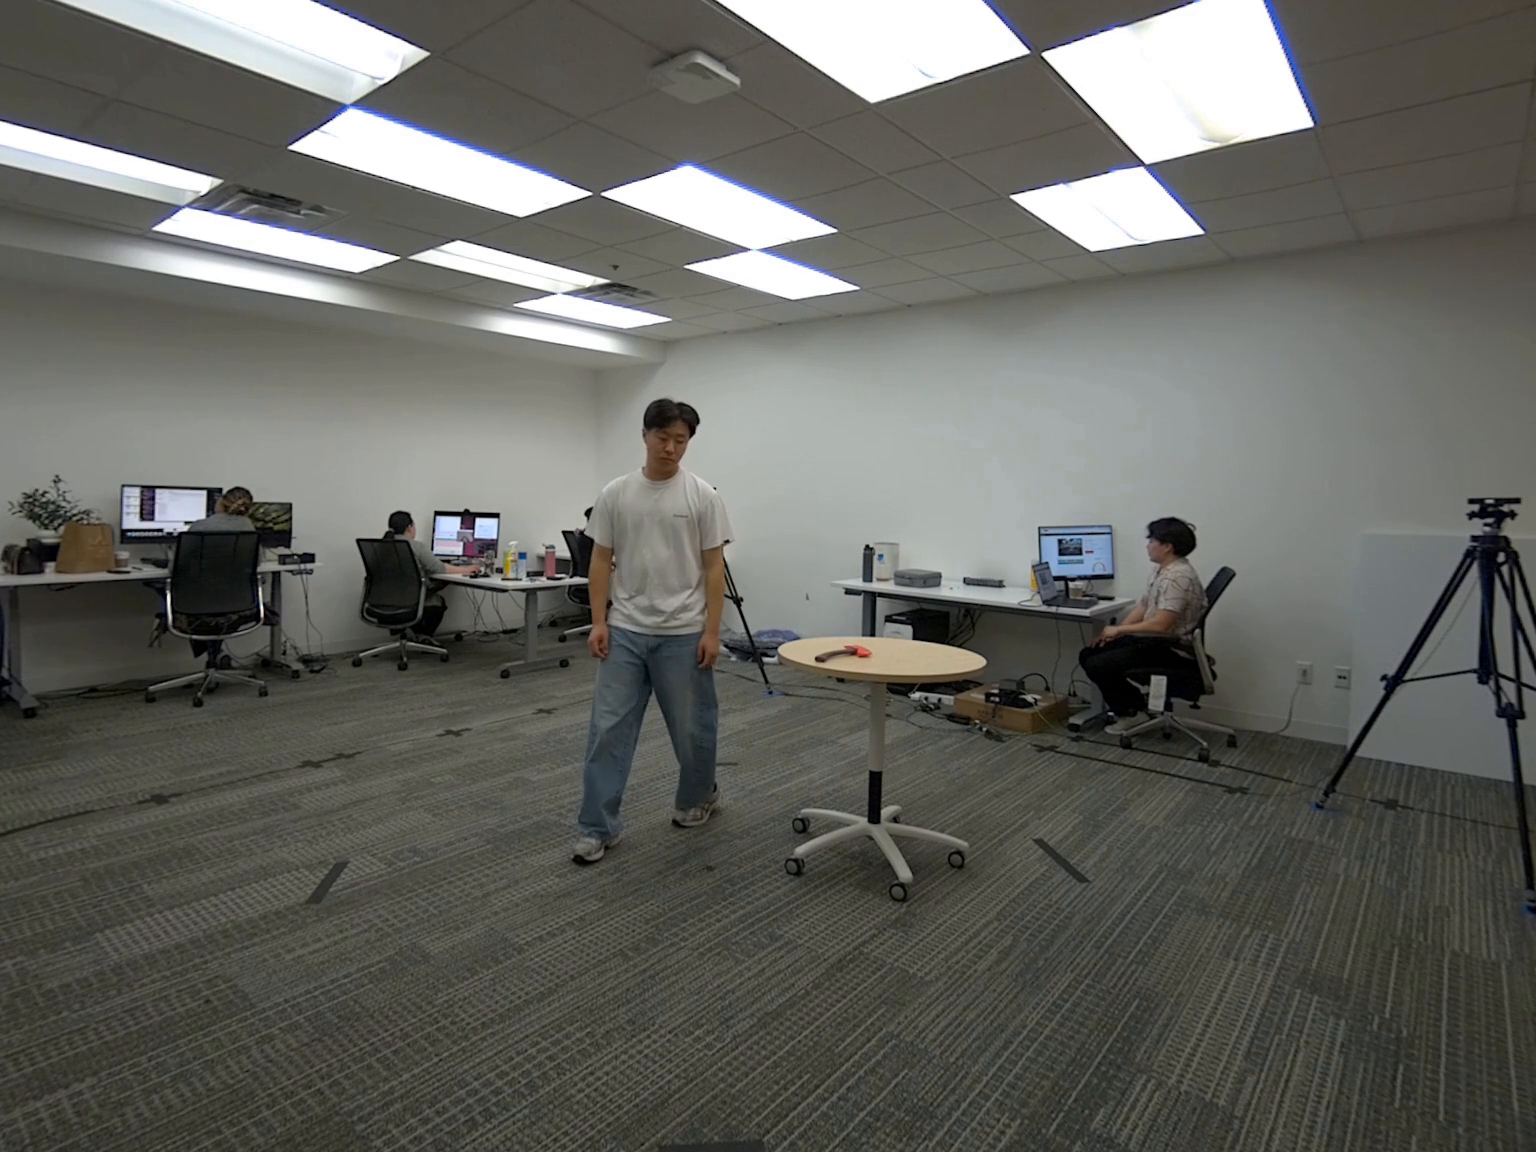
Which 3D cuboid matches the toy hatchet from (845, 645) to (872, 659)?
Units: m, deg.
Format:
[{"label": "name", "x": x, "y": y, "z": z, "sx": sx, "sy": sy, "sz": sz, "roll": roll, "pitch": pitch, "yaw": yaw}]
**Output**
[{"label": "toy hatchet", "x": 0.280, "y": 0.285, "z": 3.089, "sx": 0.135, "sy": 0.029, "sz": 0.263, "roll": 9, "pitch": 10, "yaw": 30}]
